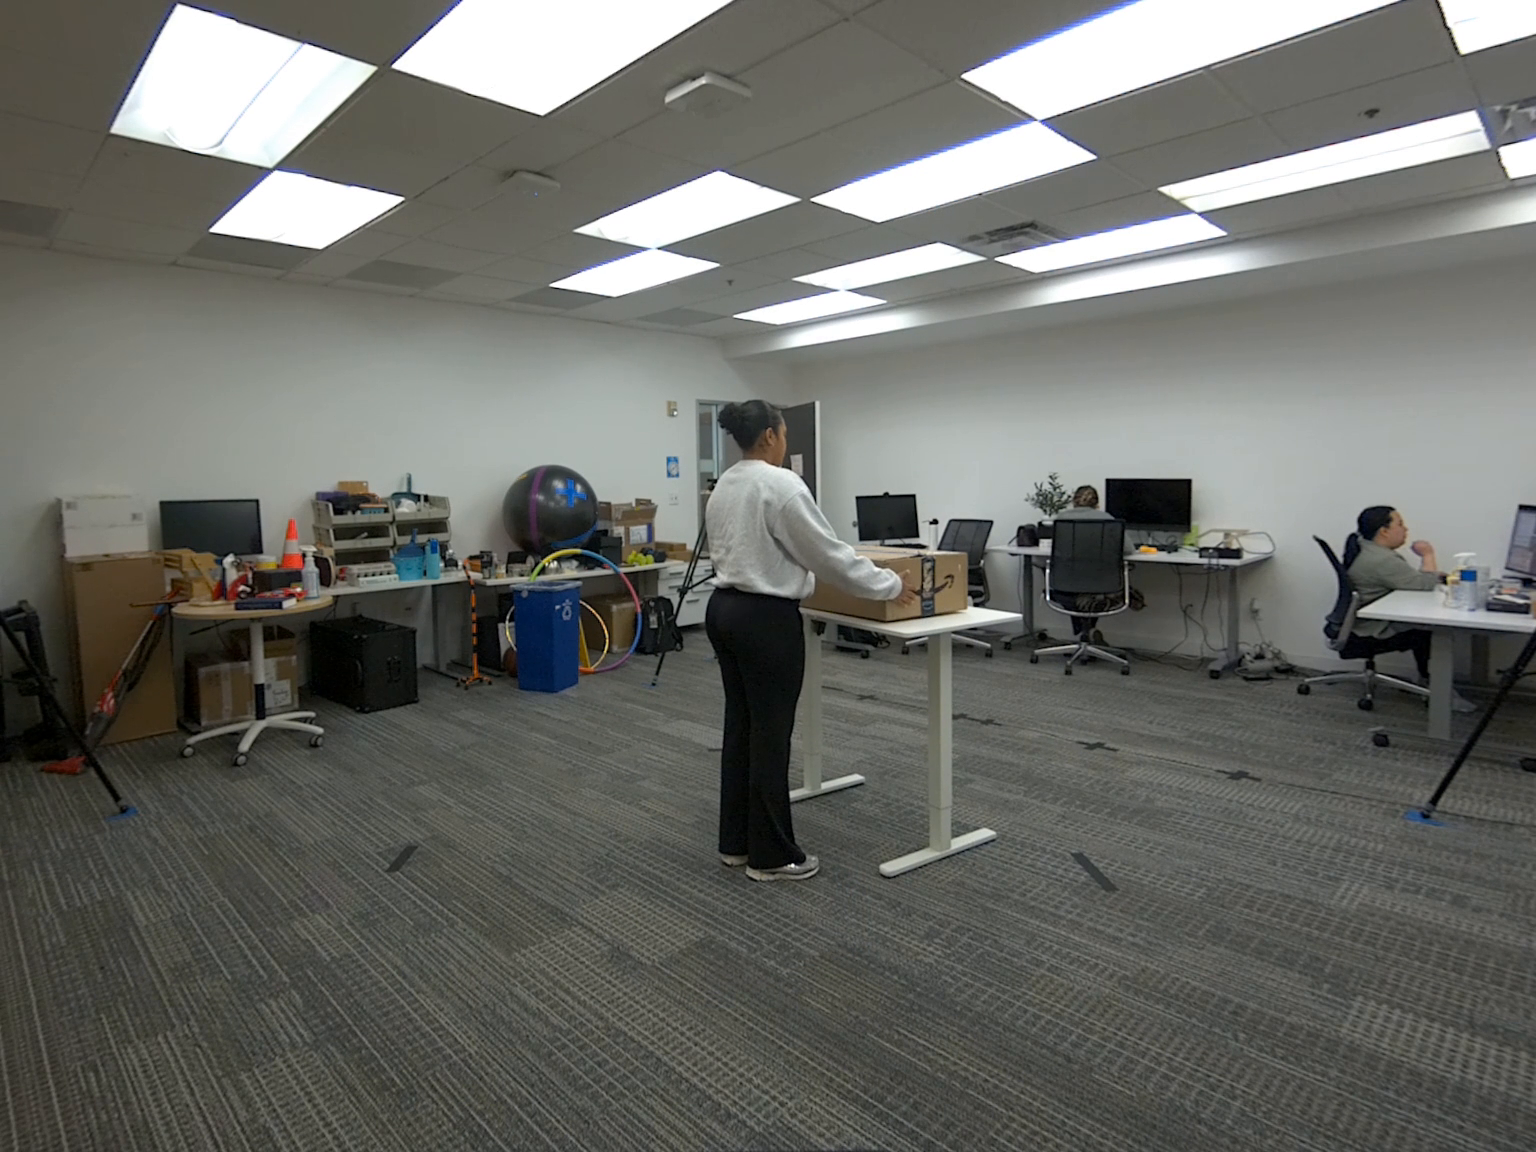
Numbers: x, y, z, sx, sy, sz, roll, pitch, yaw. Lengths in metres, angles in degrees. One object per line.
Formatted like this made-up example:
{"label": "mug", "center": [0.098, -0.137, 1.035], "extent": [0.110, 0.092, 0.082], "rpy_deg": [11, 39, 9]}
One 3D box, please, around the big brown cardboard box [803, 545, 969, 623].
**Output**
{"label": "big brown cardboard box", "center": [0.416, 0.014, 3.331], "extent": [0.407, 0.232, 0.606], "rpy_deg": [-5, 6, -34]}
